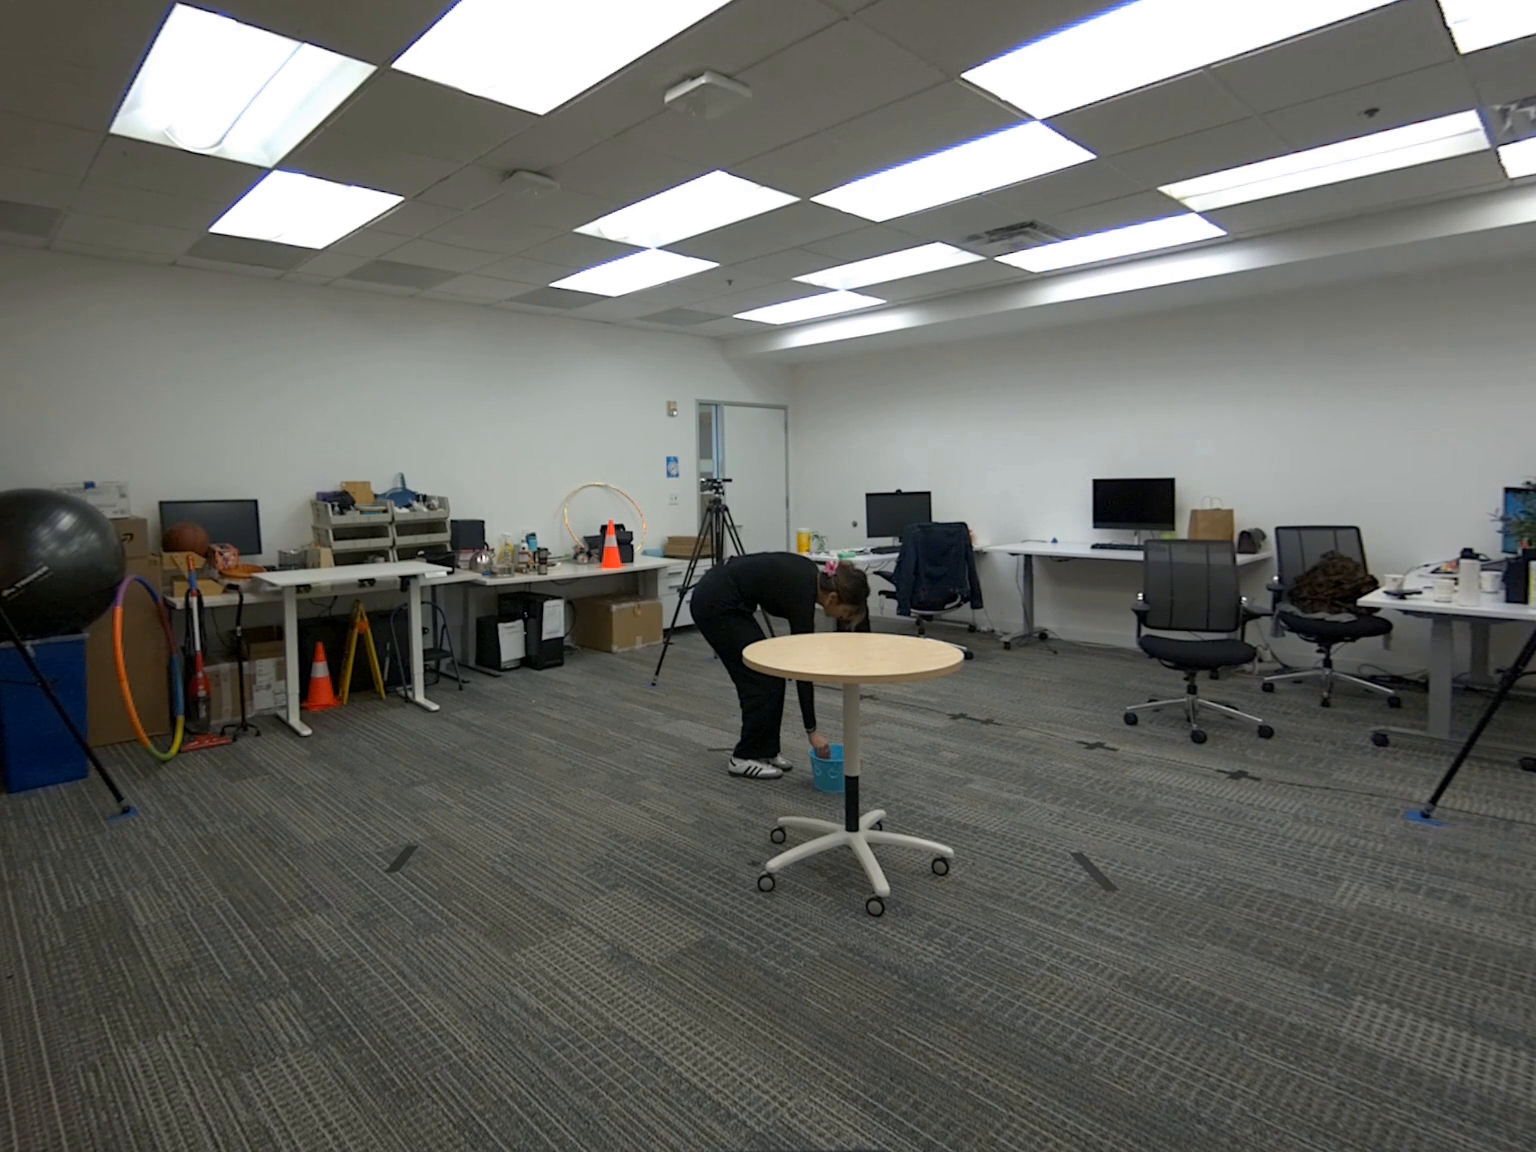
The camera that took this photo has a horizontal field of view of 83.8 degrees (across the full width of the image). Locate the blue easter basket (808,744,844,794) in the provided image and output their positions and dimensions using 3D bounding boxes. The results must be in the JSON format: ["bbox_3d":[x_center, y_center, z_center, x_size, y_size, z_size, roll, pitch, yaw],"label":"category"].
[{"bbox_3d":[0.306,0.873,3.889,0.243,0.155,0.245,0,5,-2],"label":"blue easter basket"}]
